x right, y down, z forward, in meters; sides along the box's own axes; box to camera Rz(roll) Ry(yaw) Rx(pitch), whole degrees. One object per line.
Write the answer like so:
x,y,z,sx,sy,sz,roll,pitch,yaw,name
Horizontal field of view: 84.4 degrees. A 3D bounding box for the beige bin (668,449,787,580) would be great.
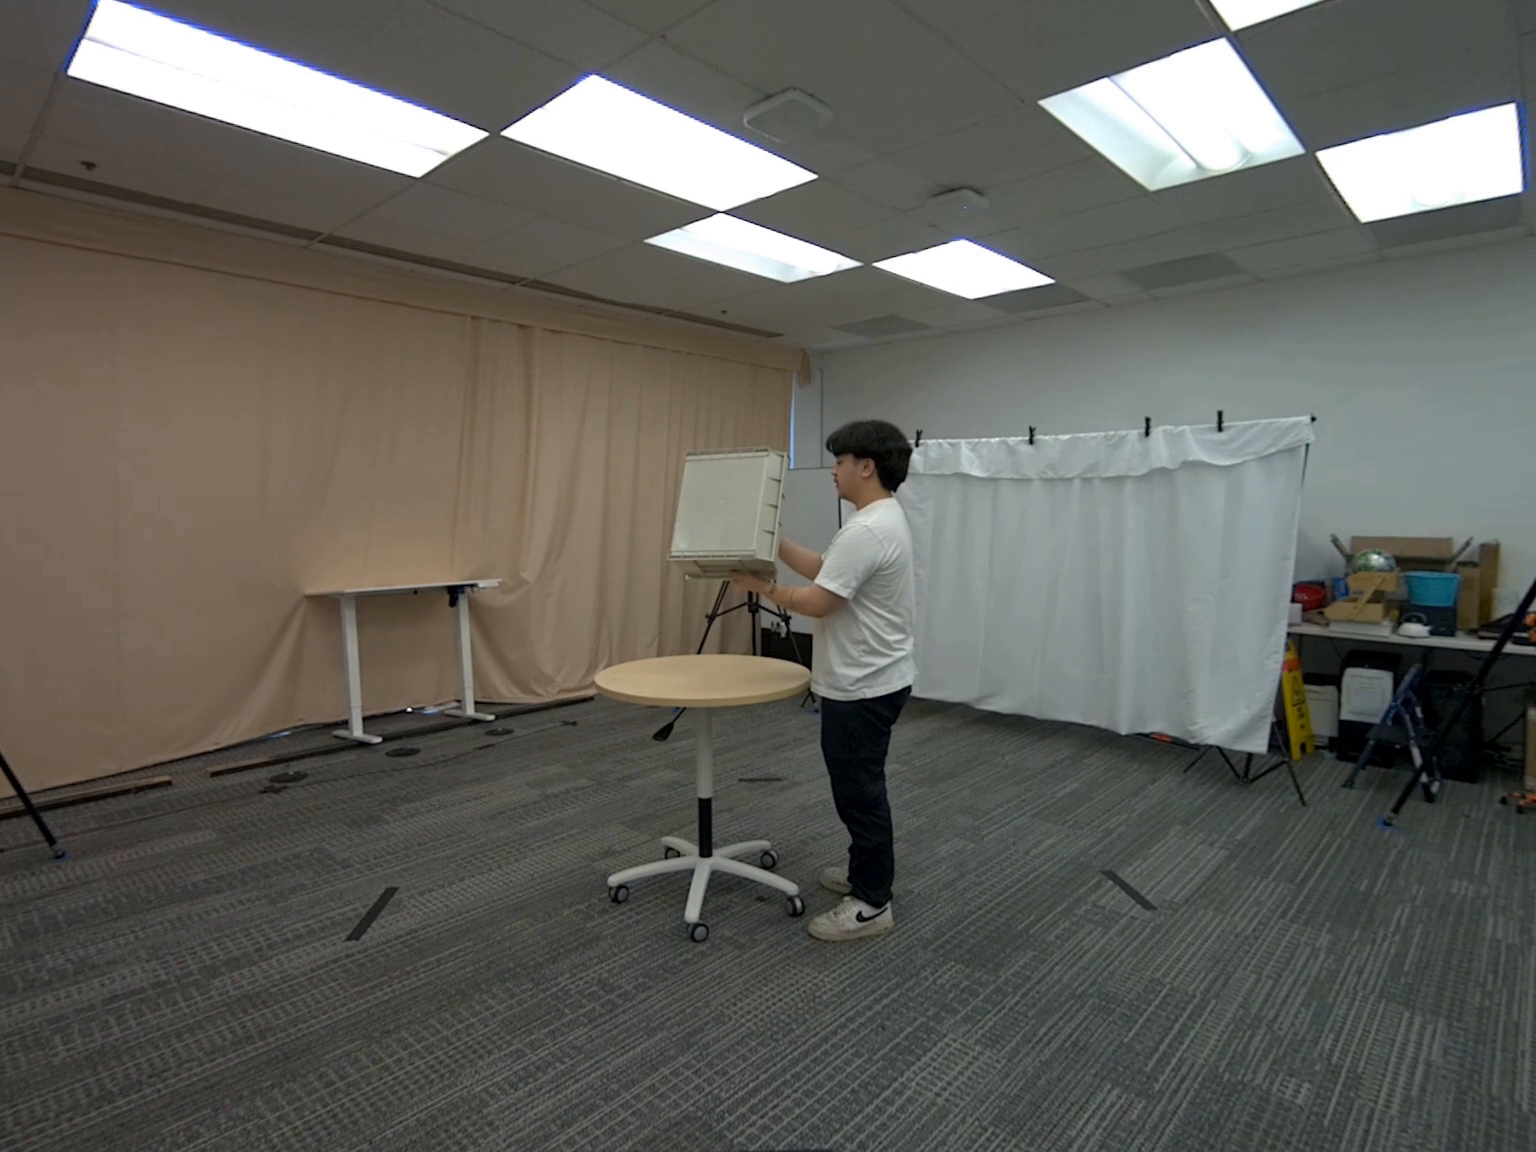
-0.112,-0.209,2.904,0.385,0.426,0.183,-1,-22,20,beige bin
